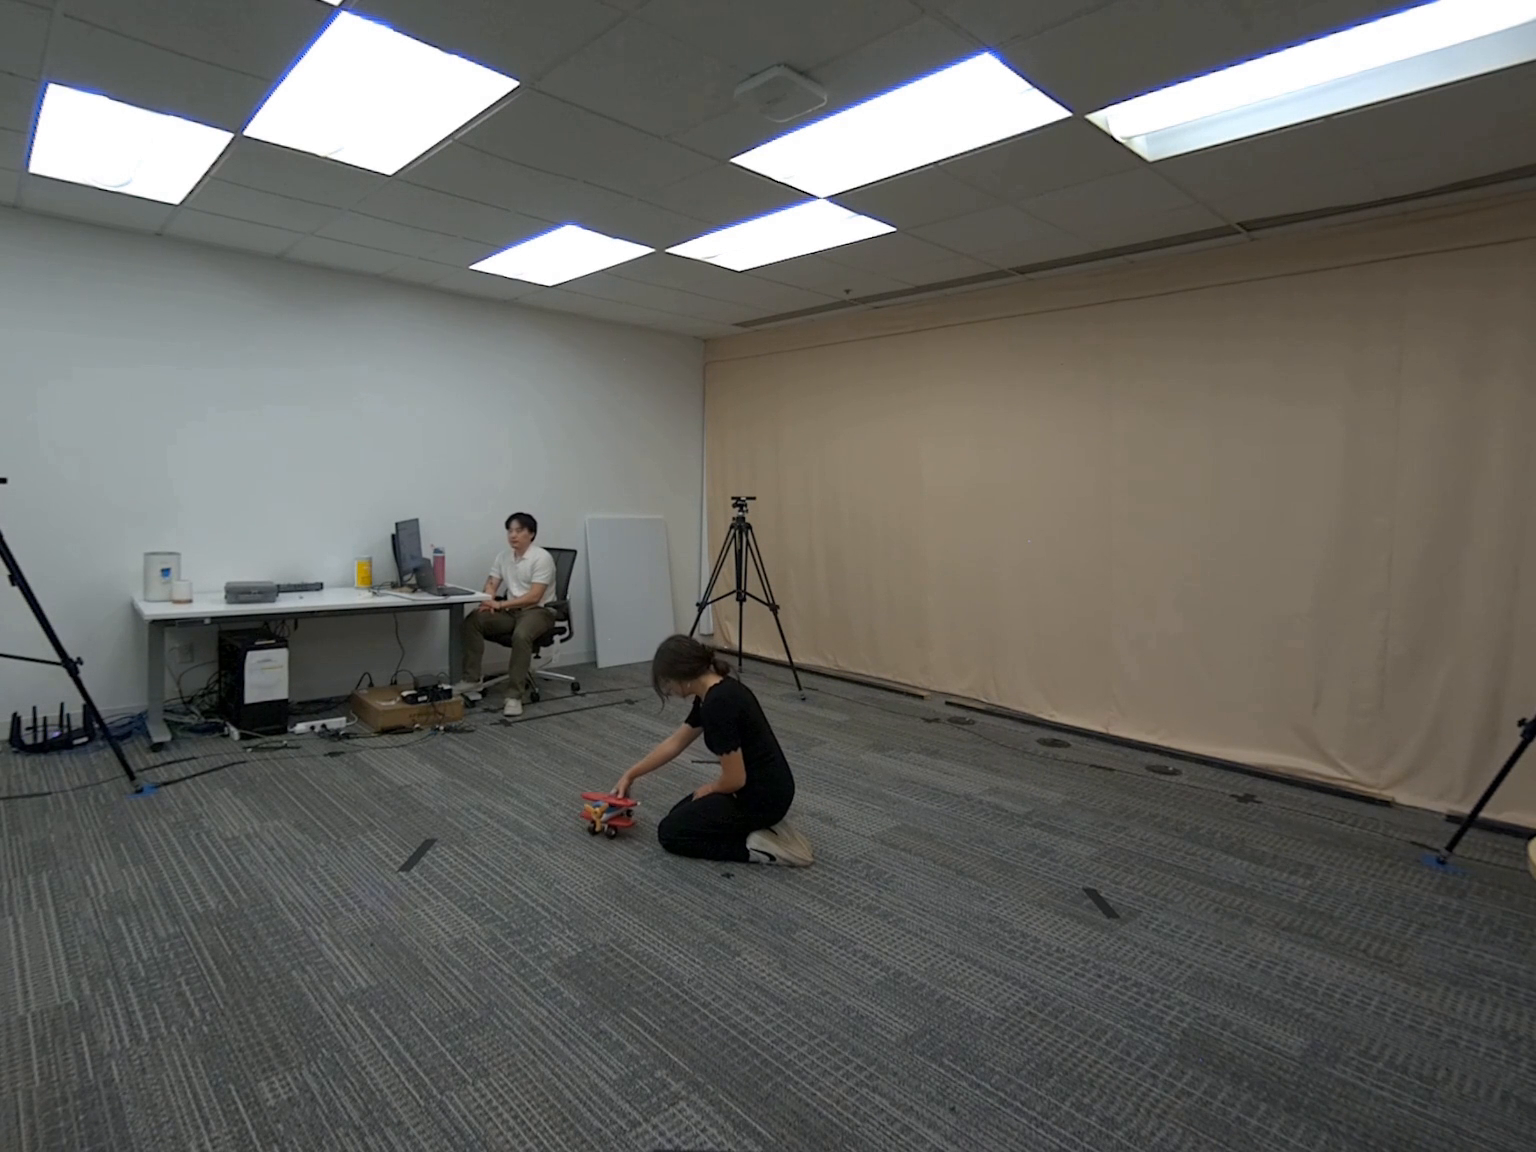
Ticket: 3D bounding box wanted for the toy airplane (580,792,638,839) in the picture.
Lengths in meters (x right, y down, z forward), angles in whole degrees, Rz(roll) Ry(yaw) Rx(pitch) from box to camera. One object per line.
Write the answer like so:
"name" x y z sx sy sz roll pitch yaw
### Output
"toy airplane" -0.668 0.970 3.508 0.250 0.155 0.262 -3 11 -5
